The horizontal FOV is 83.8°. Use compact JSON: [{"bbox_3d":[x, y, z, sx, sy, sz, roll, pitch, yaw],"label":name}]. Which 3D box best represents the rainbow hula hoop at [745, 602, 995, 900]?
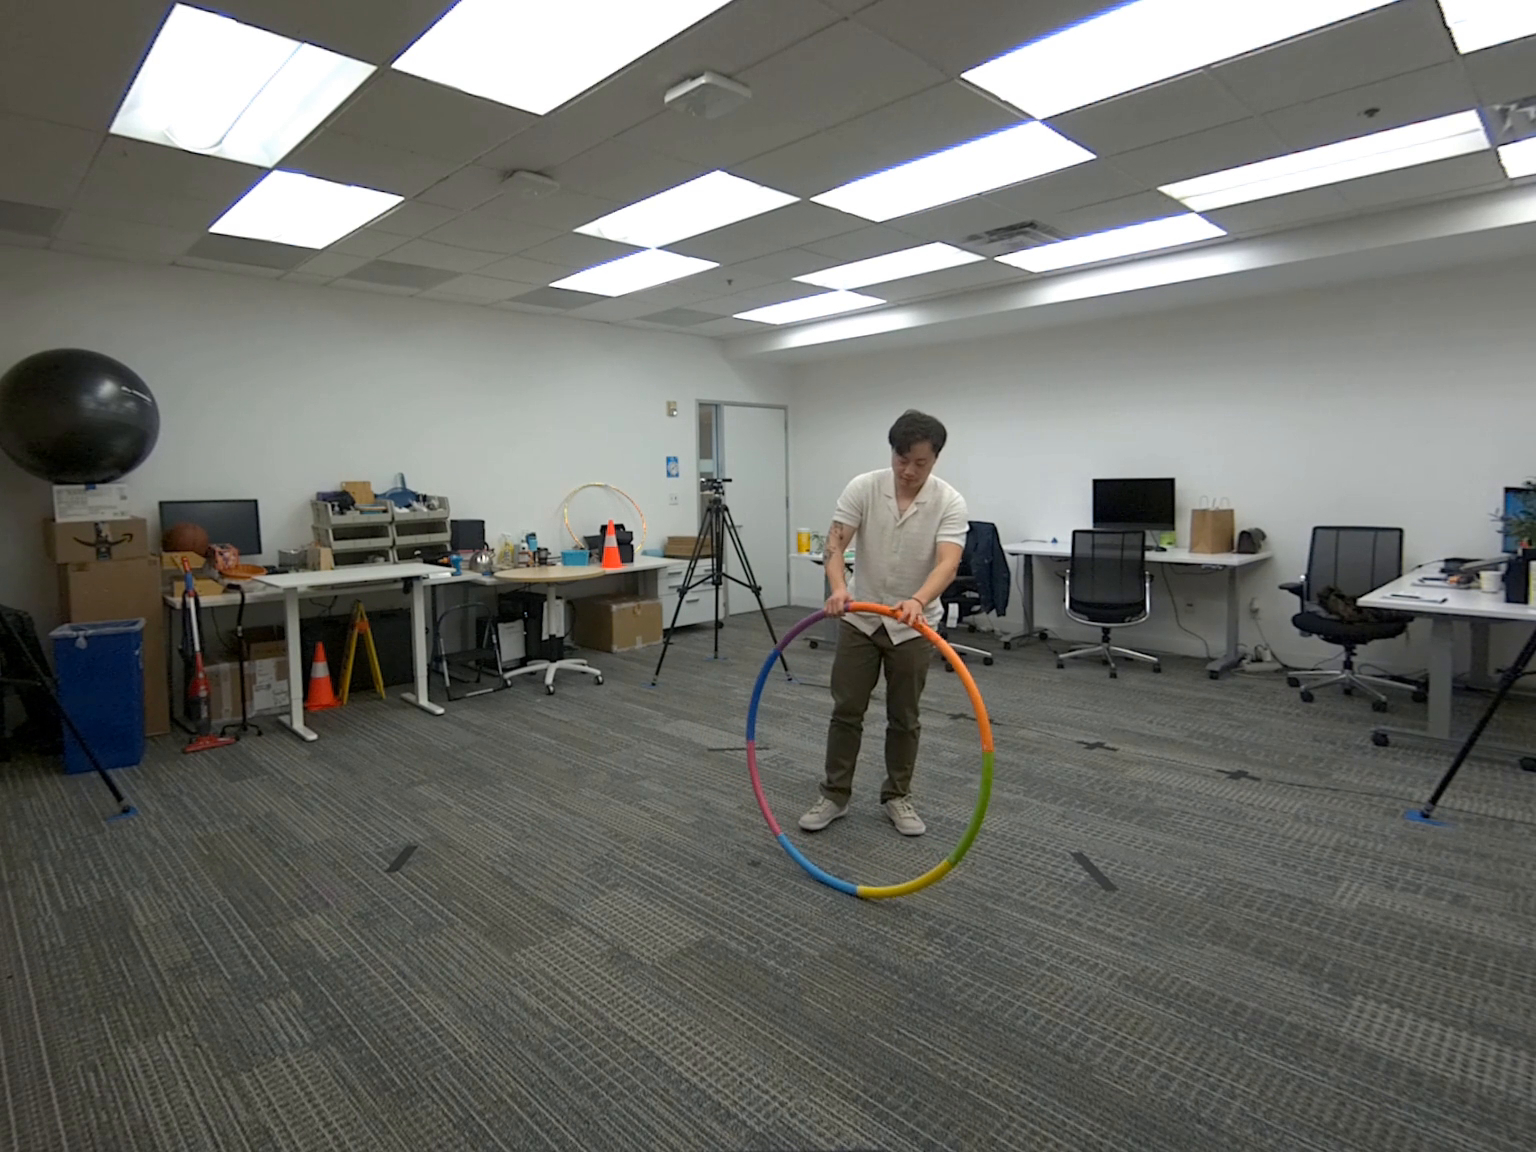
[{"bbox_3d":[0.302,0.578,2.935,1.009,0.982,0.034,3,-6,43],"label":"rainbow hula hoop"}]
